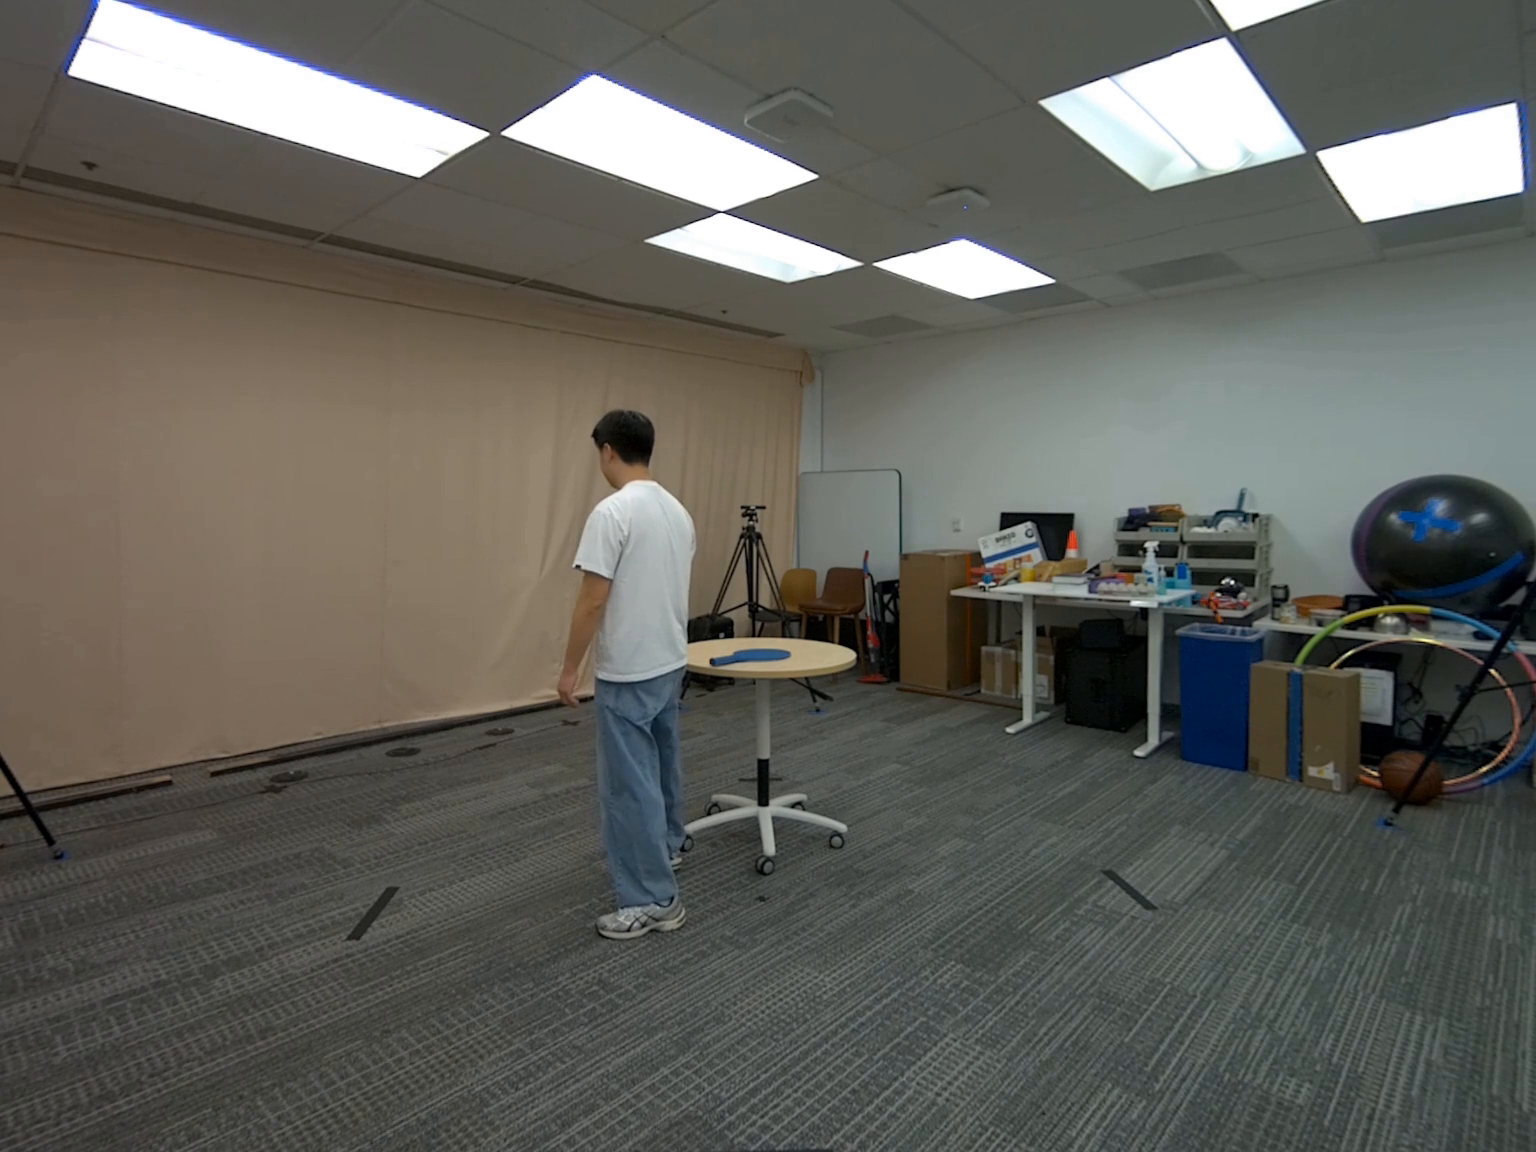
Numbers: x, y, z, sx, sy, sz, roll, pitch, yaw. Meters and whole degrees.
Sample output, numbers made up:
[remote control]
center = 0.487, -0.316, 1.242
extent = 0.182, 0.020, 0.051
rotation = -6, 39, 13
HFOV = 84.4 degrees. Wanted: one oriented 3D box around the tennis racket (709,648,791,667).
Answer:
[tennis racket]
center = -0.078, 0.324, 3.348
extent = 0.221, 0.032, 0.419
rotation = 4, 5, 42
